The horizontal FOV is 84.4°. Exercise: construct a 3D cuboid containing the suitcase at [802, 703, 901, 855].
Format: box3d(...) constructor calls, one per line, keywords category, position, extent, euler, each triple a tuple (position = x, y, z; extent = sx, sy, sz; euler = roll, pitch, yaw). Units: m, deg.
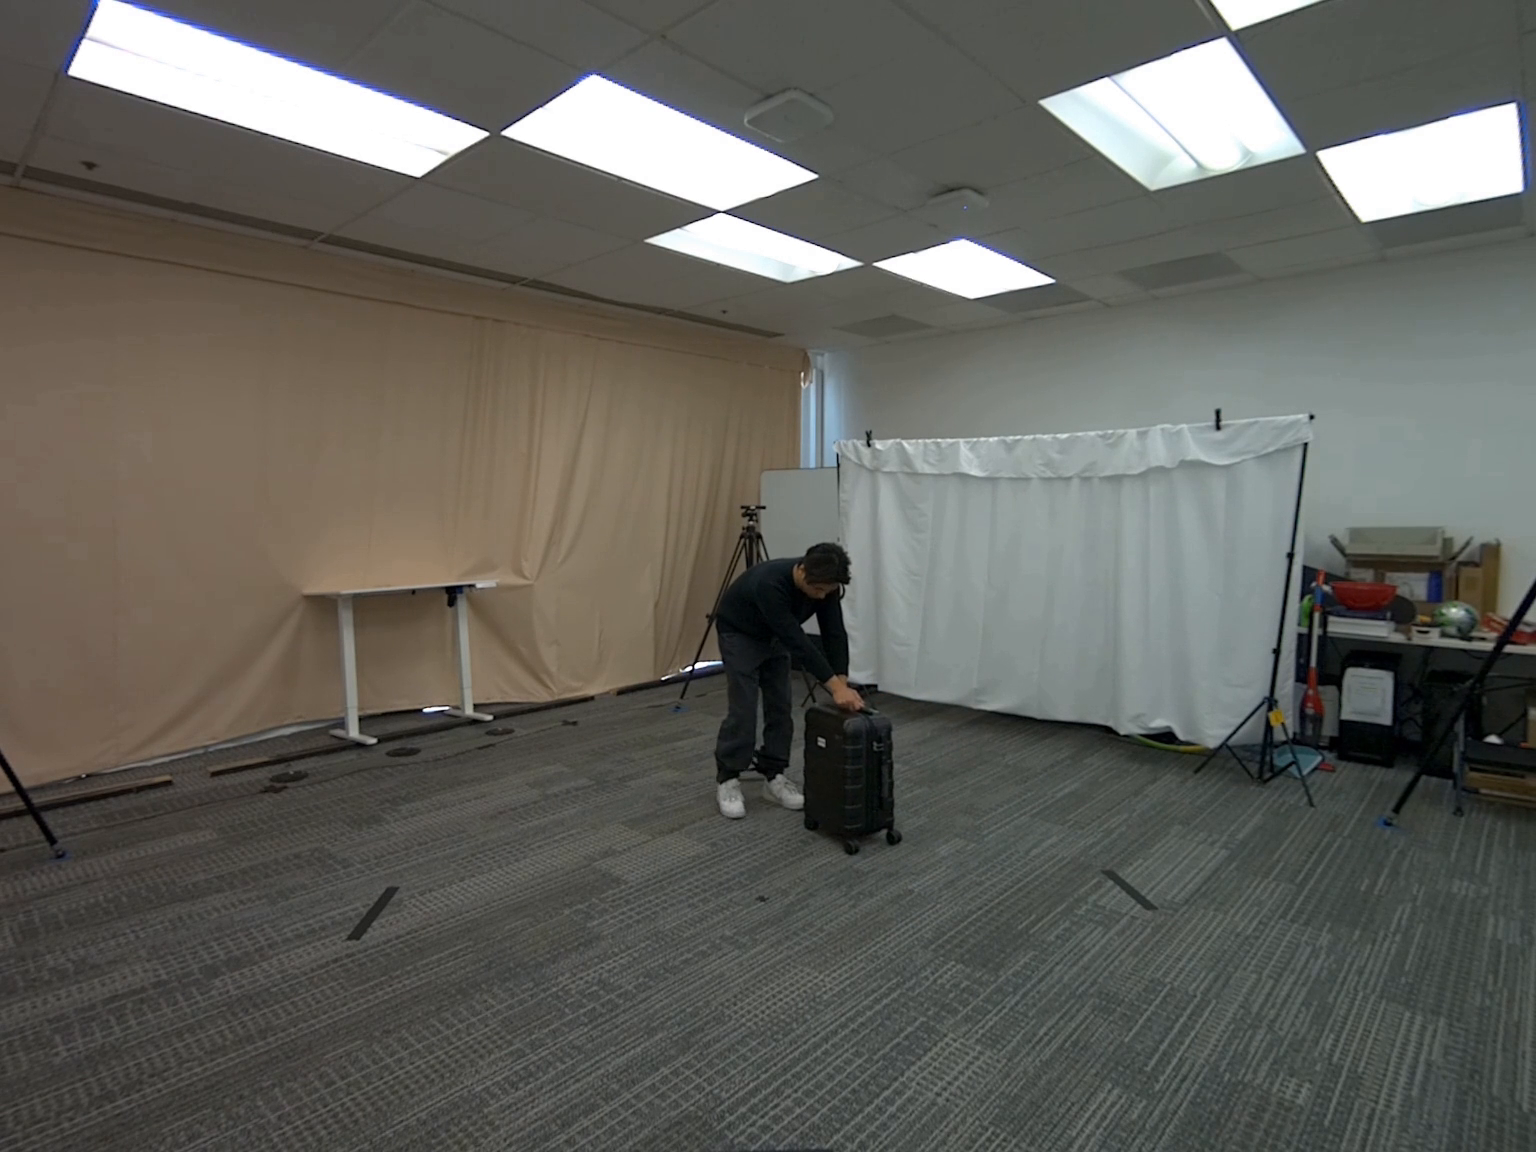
box3d(category="suitcase", position=(0.344, 0.820, 3.551), extent=(0.242, 0.548, 0.386), euler=(-3, 3, -29))
